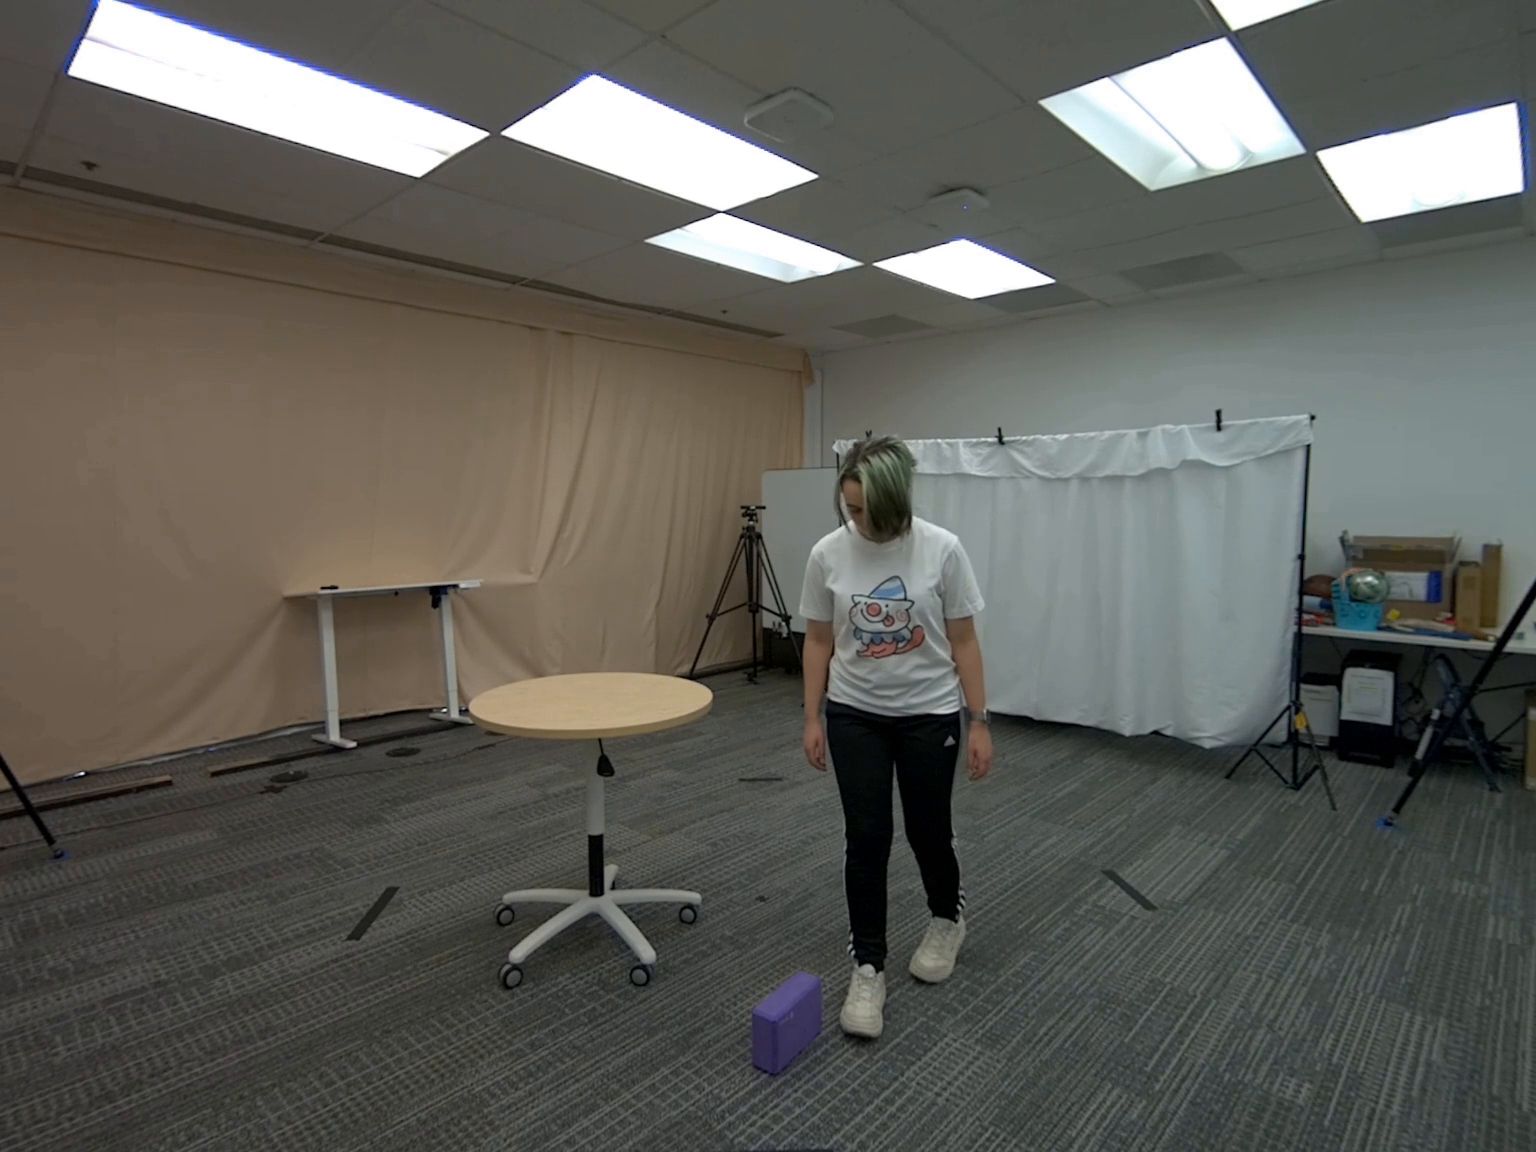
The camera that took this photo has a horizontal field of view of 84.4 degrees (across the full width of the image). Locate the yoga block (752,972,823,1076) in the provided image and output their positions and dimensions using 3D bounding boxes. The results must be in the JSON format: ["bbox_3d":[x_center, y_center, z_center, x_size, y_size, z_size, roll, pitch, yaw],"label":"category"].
[{"bbox_3d":[0.057,1.138,2.149,0.079,0.148,0.223,1,5,36],"label":"yoga block"}]
